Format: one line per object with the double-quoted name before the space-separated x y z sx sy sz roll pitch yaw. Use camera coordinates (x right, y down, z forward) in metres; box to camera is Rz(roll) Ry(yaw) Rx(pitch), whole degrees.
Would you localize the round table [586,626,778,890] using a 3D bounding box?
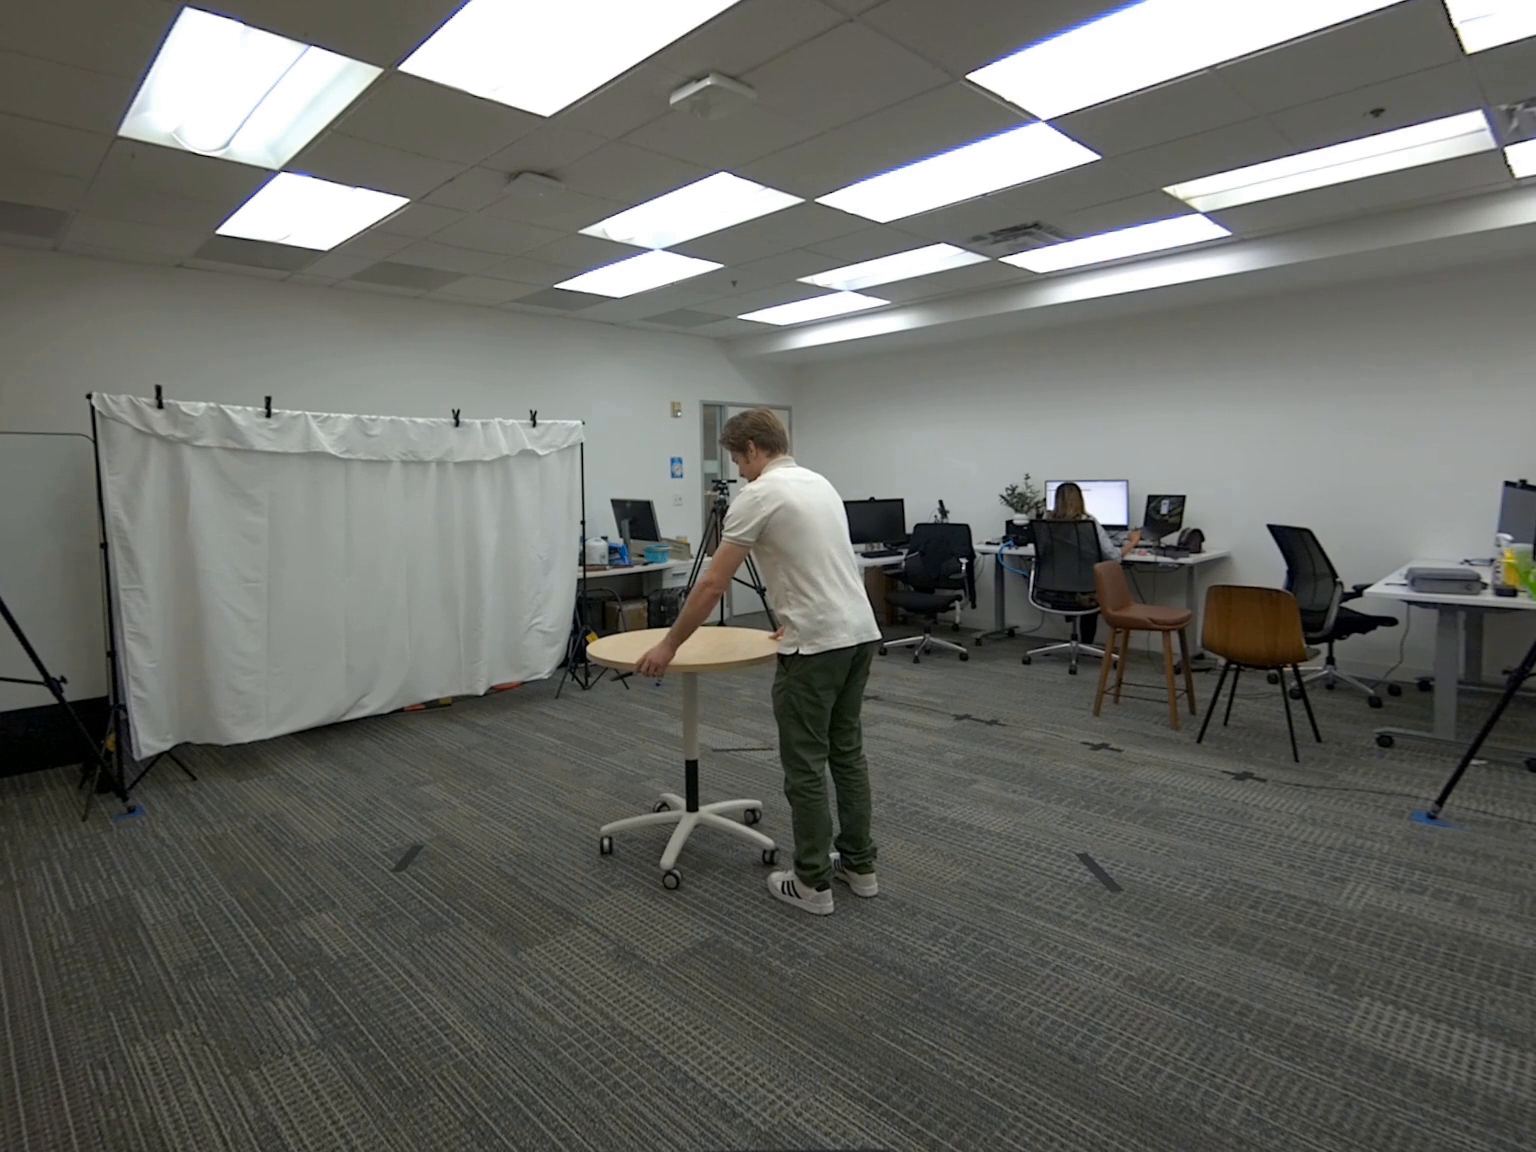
"round table" -0.285 0.646 3.249 0.763 0.791 0.767 -1 4 -2
